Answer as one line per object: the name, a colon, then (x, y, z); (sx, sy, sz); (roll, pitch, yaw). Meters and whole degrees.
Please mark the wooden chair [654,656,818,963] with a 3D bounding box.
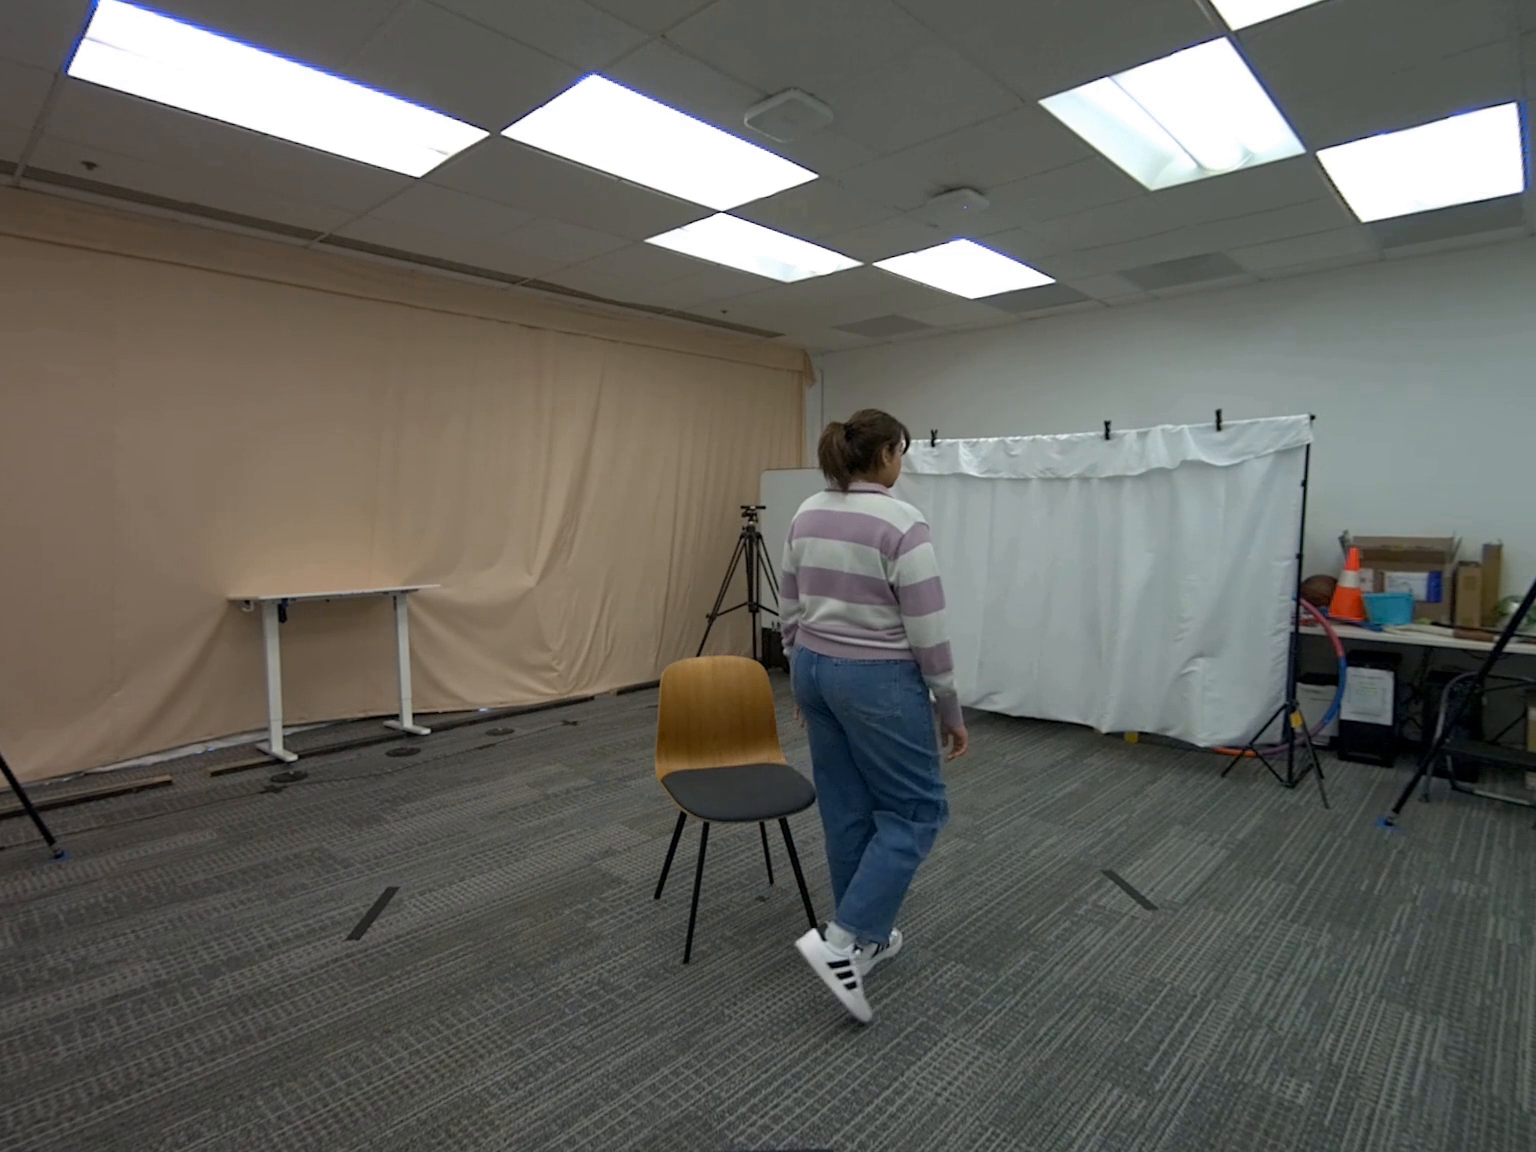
wooden chair: (-0.113, 0.733, 2.800); (0.469, 0.878, 0.532); (-1, 0, -18)
